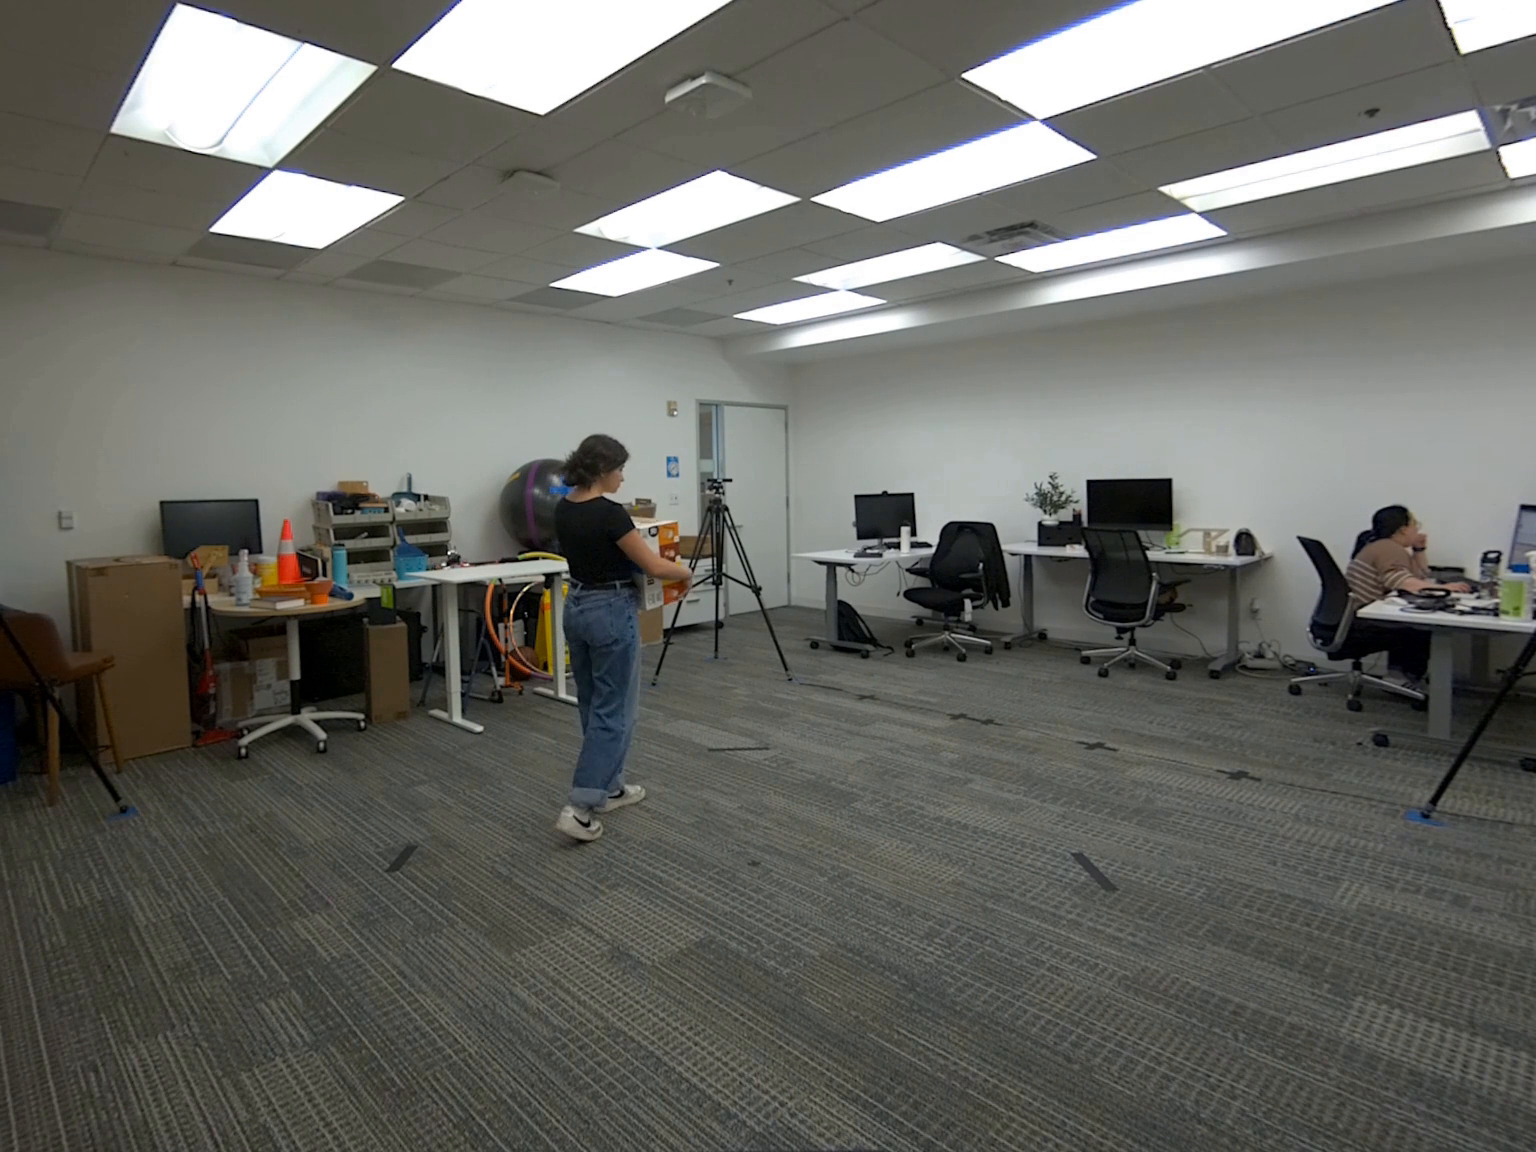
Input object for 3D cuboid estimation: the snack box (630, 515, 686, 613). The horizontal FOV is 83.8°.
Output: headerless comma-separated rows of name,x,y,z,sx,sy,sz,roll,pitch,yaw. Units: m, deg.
snack box,-0.576,-0.066,3.646,0.201,0.337,0.418,-13,15,-43
